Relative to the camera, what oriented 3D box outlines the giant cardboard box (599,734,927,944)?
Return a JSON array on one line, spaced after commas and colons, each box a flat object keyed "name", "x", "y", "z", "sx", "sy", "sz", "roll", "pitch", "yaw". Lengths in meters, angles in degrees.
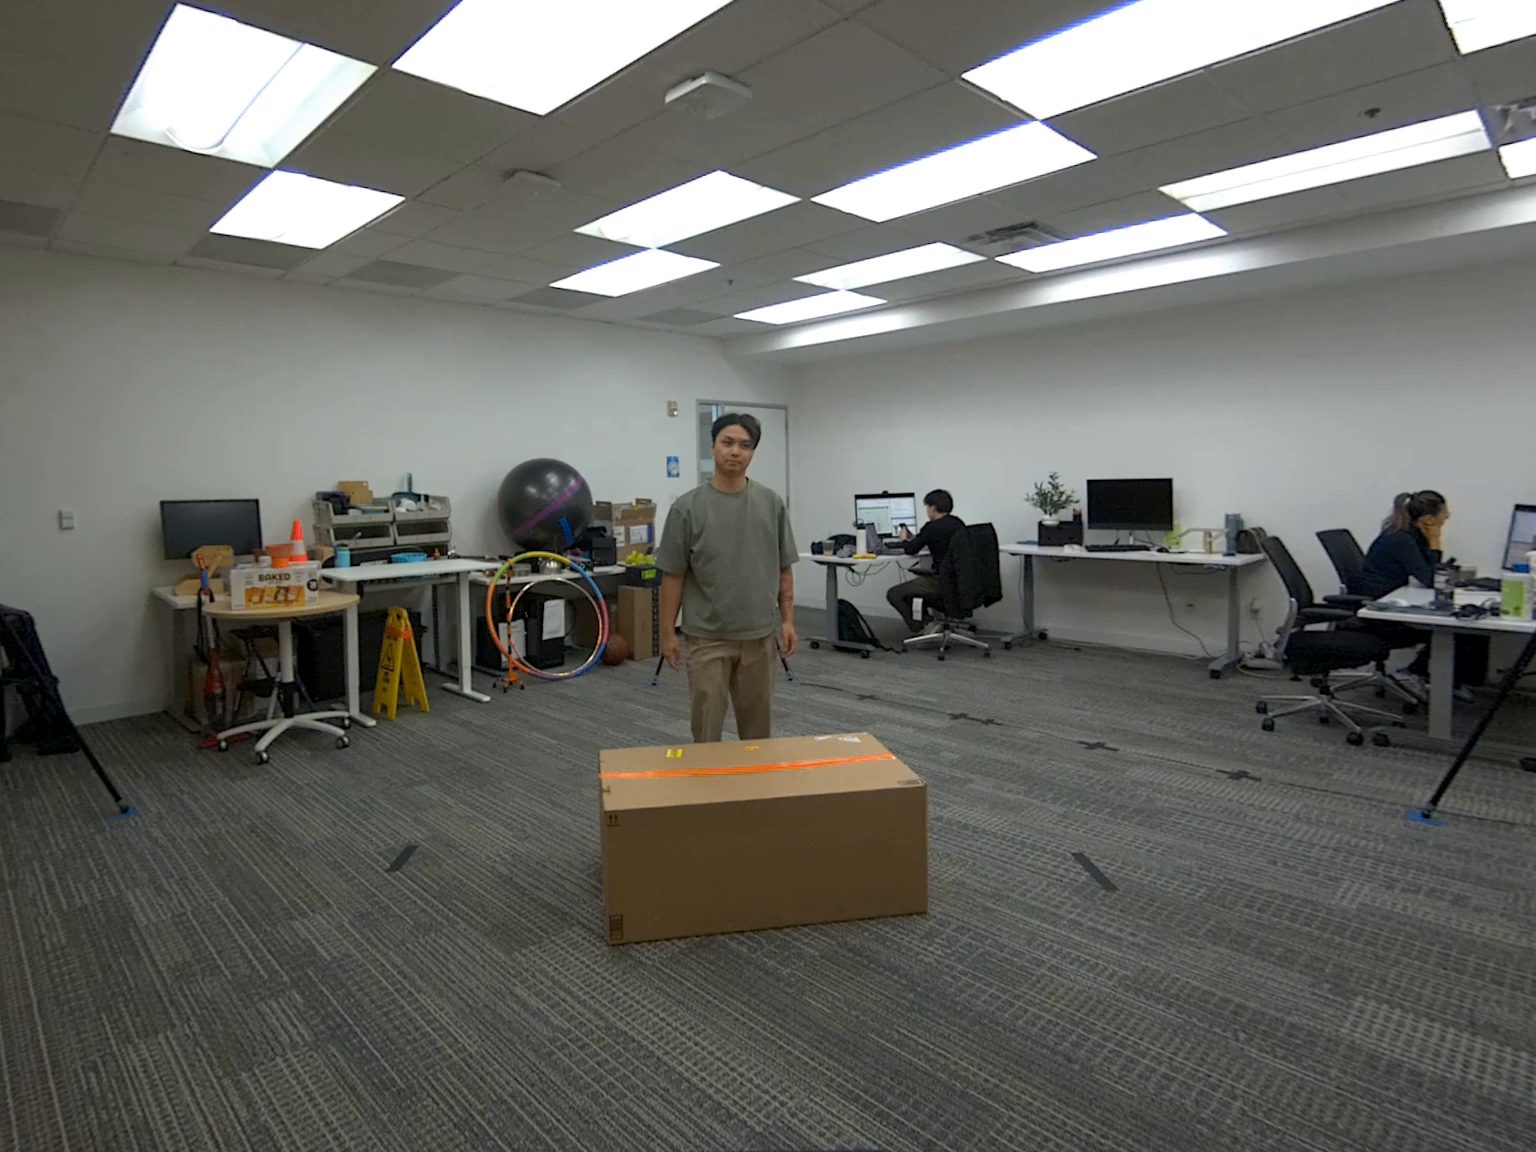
[{"name": "giant cardboard box", "x": -0.051, "y": 0.851, "z": 2.912, "sx": 1.016, "sy": 0.424, "sz": 0.585, "roll": -2, "pitch": 5, "yaw": -10}]
